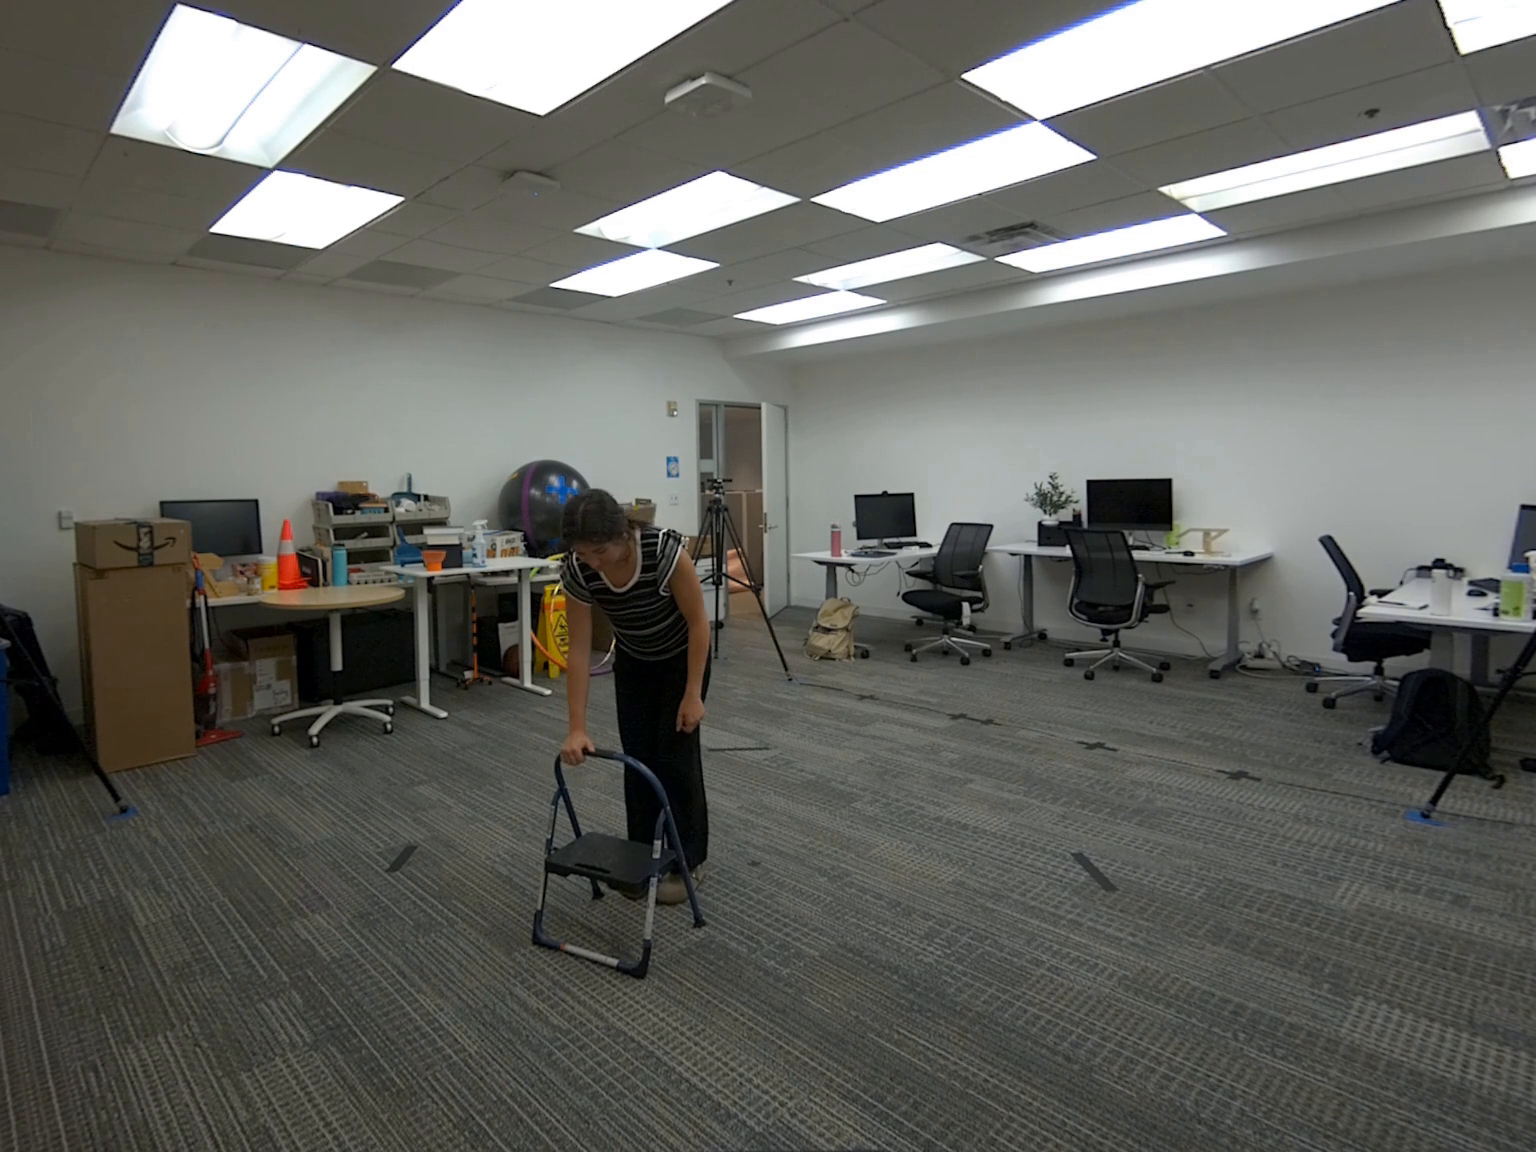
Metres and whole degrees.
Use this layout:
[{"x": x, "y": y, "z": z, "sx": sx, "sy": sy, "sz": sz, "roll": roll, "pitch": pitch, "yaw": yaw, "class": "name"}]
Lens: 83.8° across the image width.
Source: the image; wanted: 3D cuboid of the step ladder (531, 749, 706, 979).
[{"x": -0.466, "y": 0.810, "z": 2.623, "sx": 0.441, "sy": 0.604, "sz": 0.342, "roll": 1, "pitch": 5, "yaw": 27, "class": "step ladder"}]
